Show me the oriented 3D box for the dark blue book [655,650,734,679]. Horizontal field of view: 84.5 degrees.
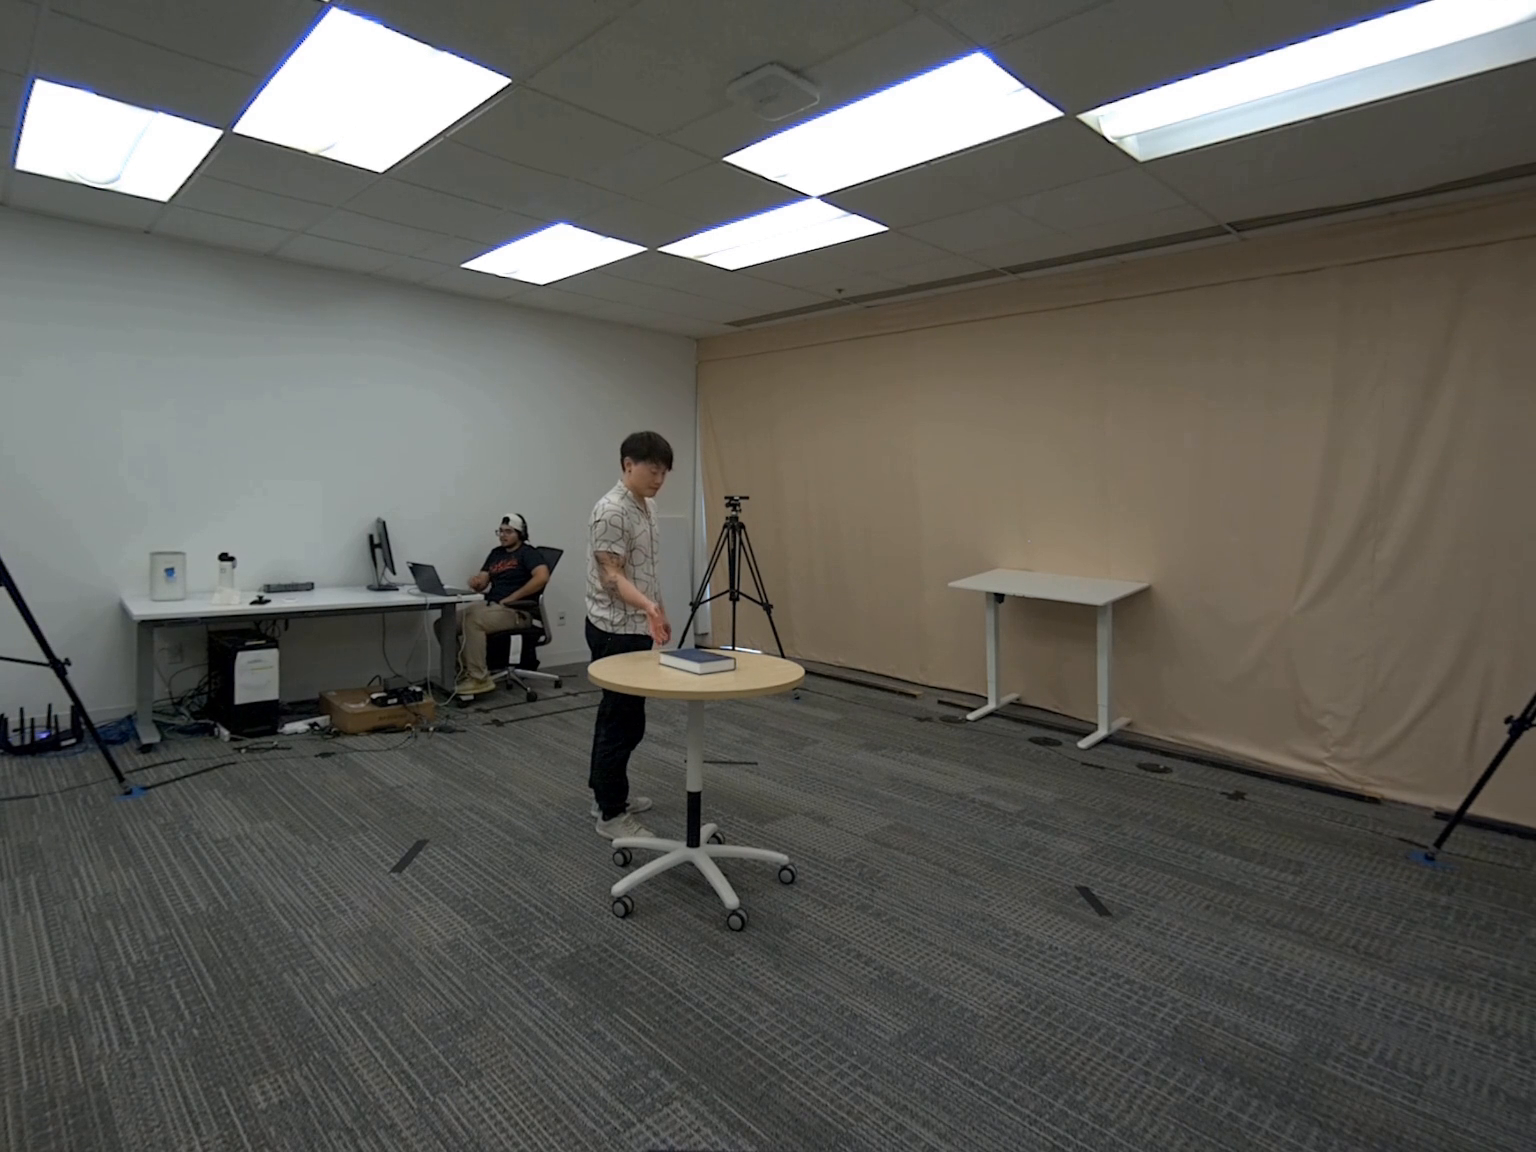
[{"bbox_3d":[-0.264,0.309,2.997,0.160,0.045,0.251,-3,6,-40],"label":"dark blue book"}]
